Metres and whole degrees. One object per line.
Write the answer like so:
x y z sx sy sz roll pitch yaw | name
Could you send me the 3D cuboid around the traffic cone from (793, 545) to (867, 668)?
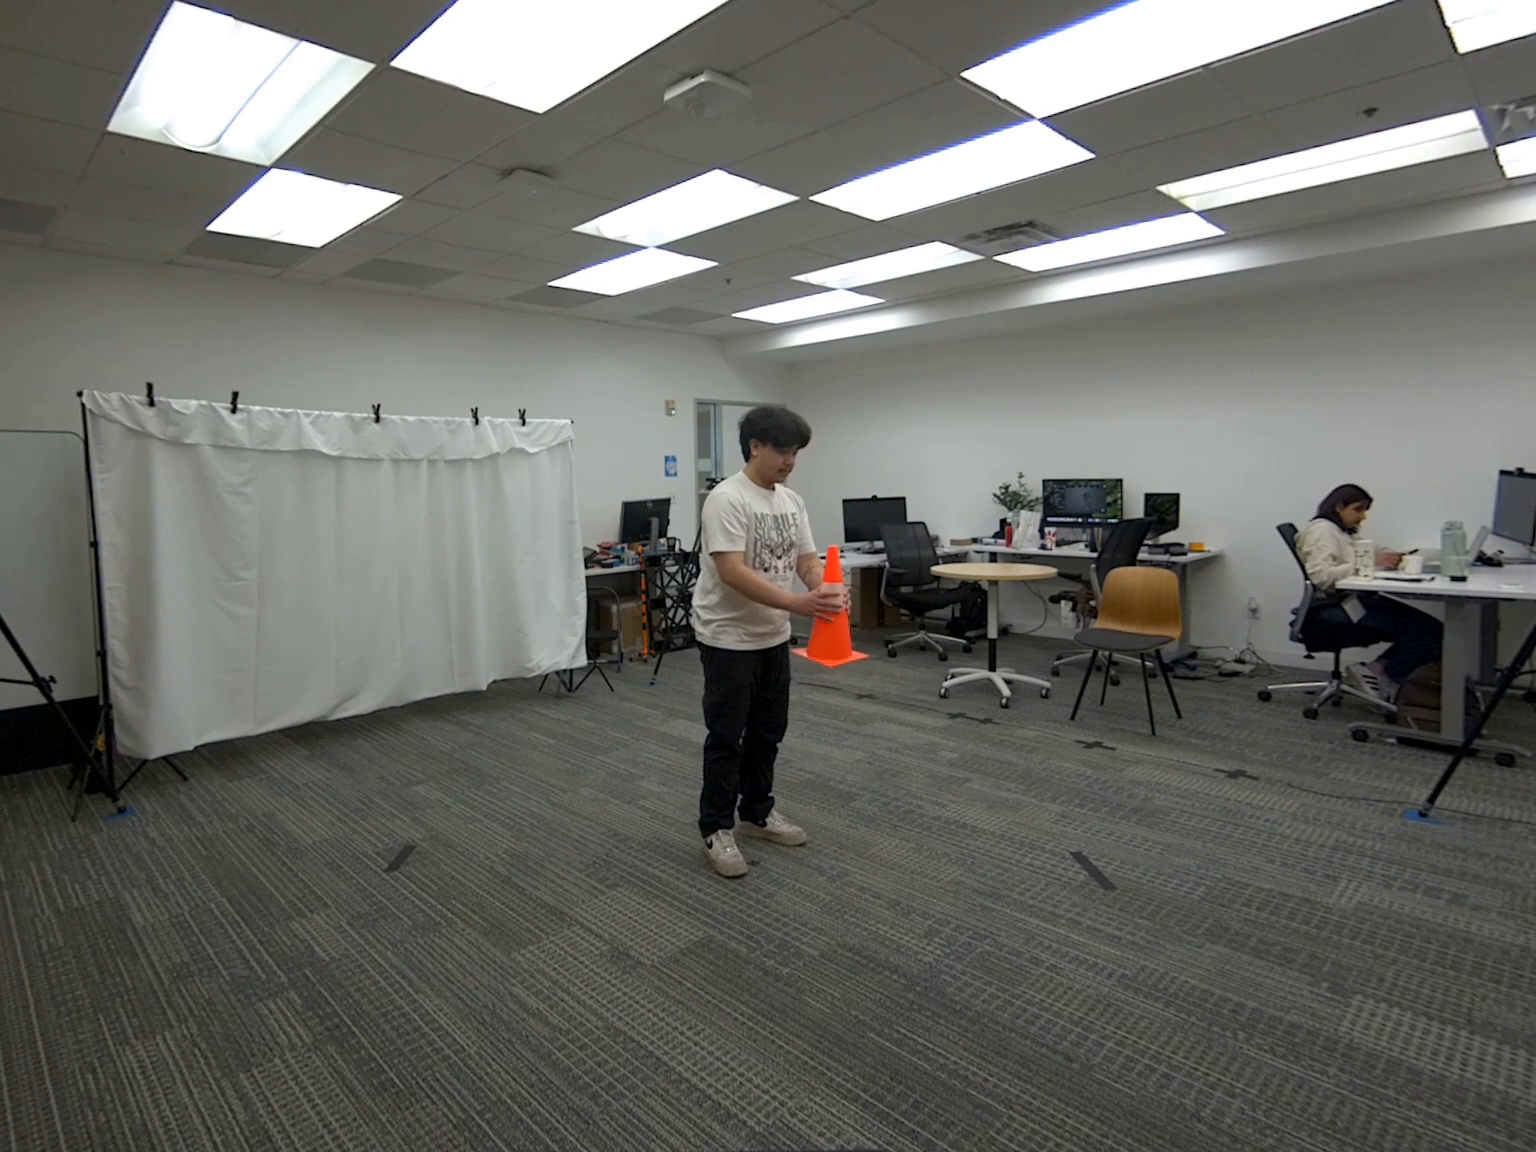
0.221 0.090 2.931 0.210 0.381 0.200 9 12 44 | traffic cone
